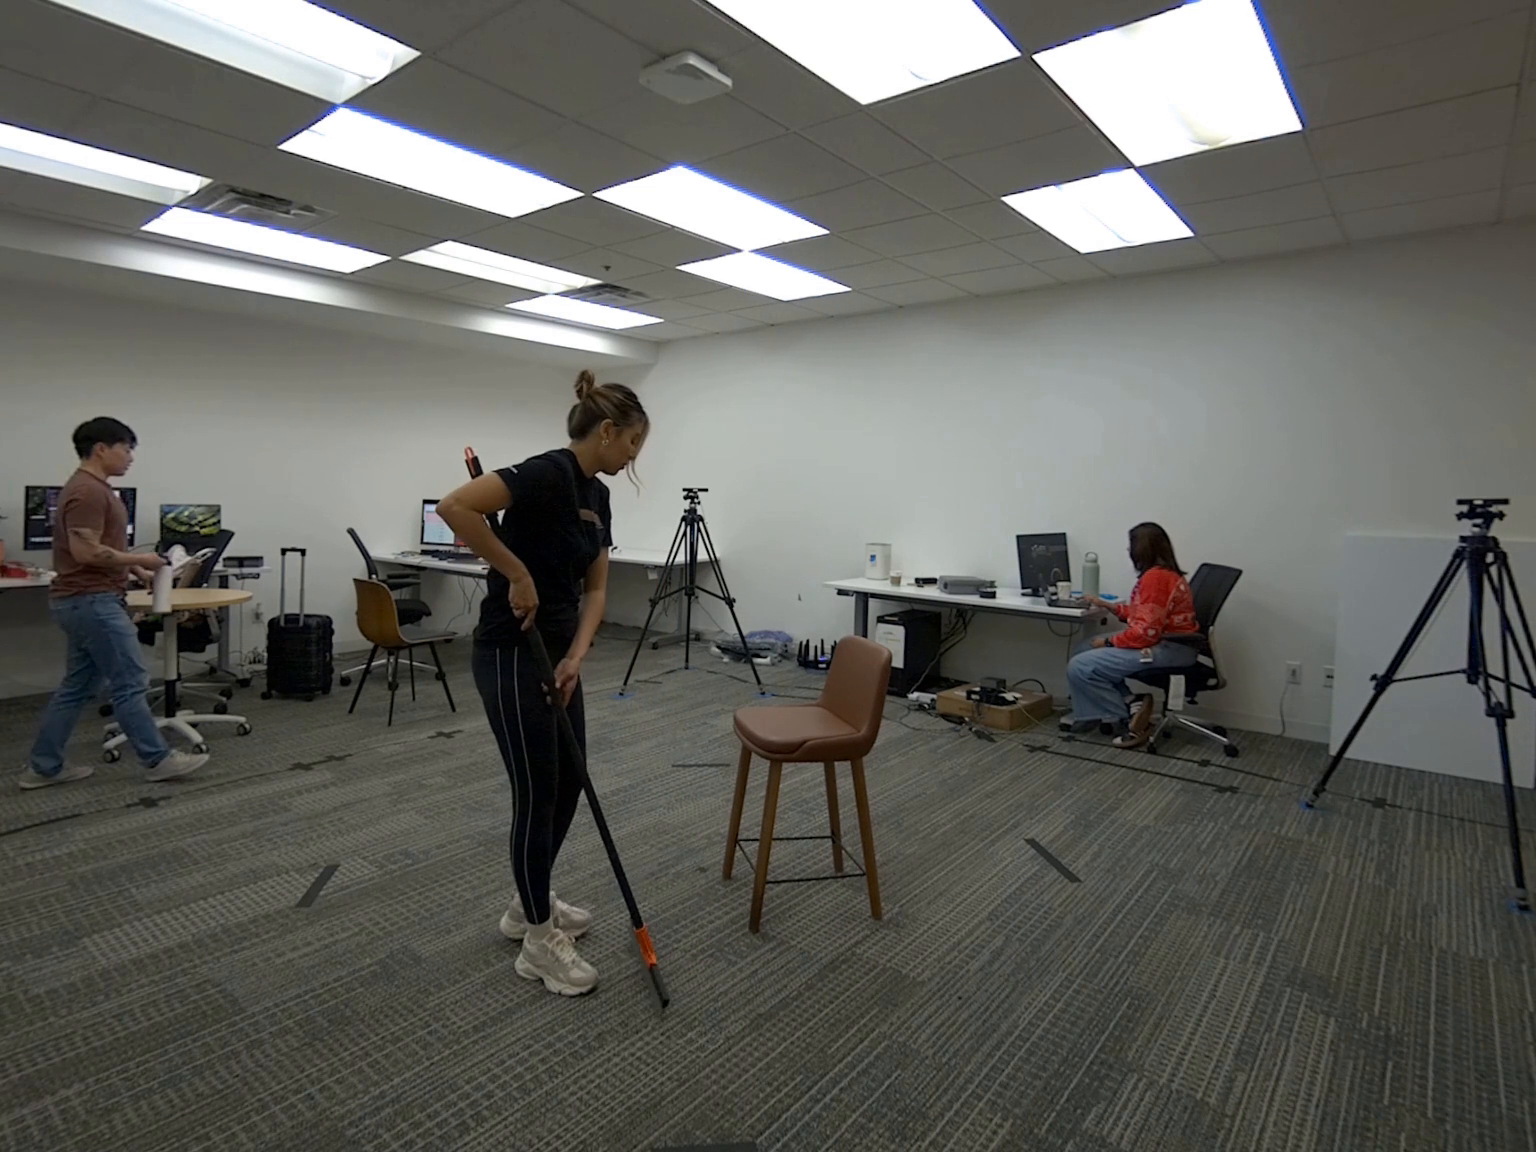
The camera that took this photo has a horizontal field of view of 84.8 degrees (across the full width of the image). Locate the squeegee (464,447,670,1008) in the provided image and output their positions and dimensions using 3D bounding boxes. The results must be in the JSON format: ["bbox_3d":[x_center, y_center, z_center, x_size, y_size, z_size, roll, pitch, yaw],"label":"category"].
[{"bbox_3d":[-0.547,0.392,2.293,0.052,1.518,0.447,-20,11,-13],"label":"squeegee"}]
